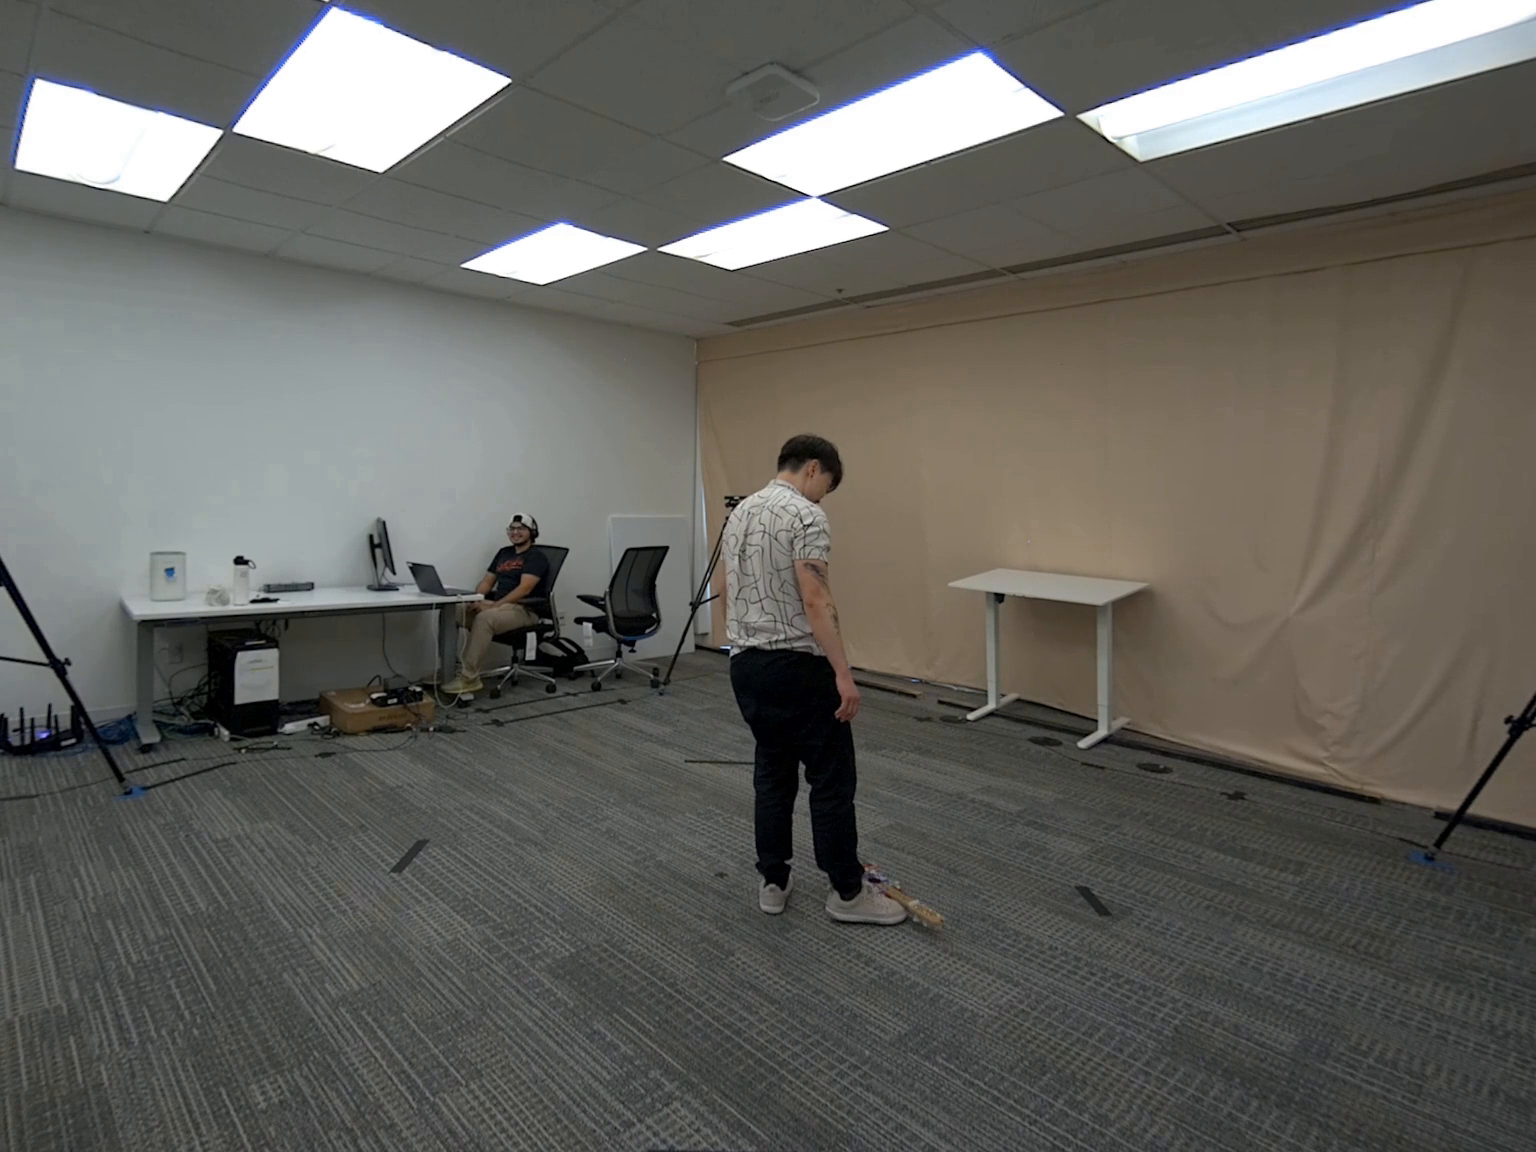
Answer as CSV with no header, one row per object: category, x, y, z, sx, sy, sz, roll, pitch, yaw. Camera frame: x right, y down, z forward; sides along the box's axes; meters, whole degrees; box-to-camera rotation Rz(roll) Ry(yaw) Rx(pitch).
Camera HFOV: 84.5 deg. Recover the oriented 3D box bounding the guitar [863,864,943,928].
guitar,0.379,1.103,2.876,0.190,0.070,0.507,0,5,-23
